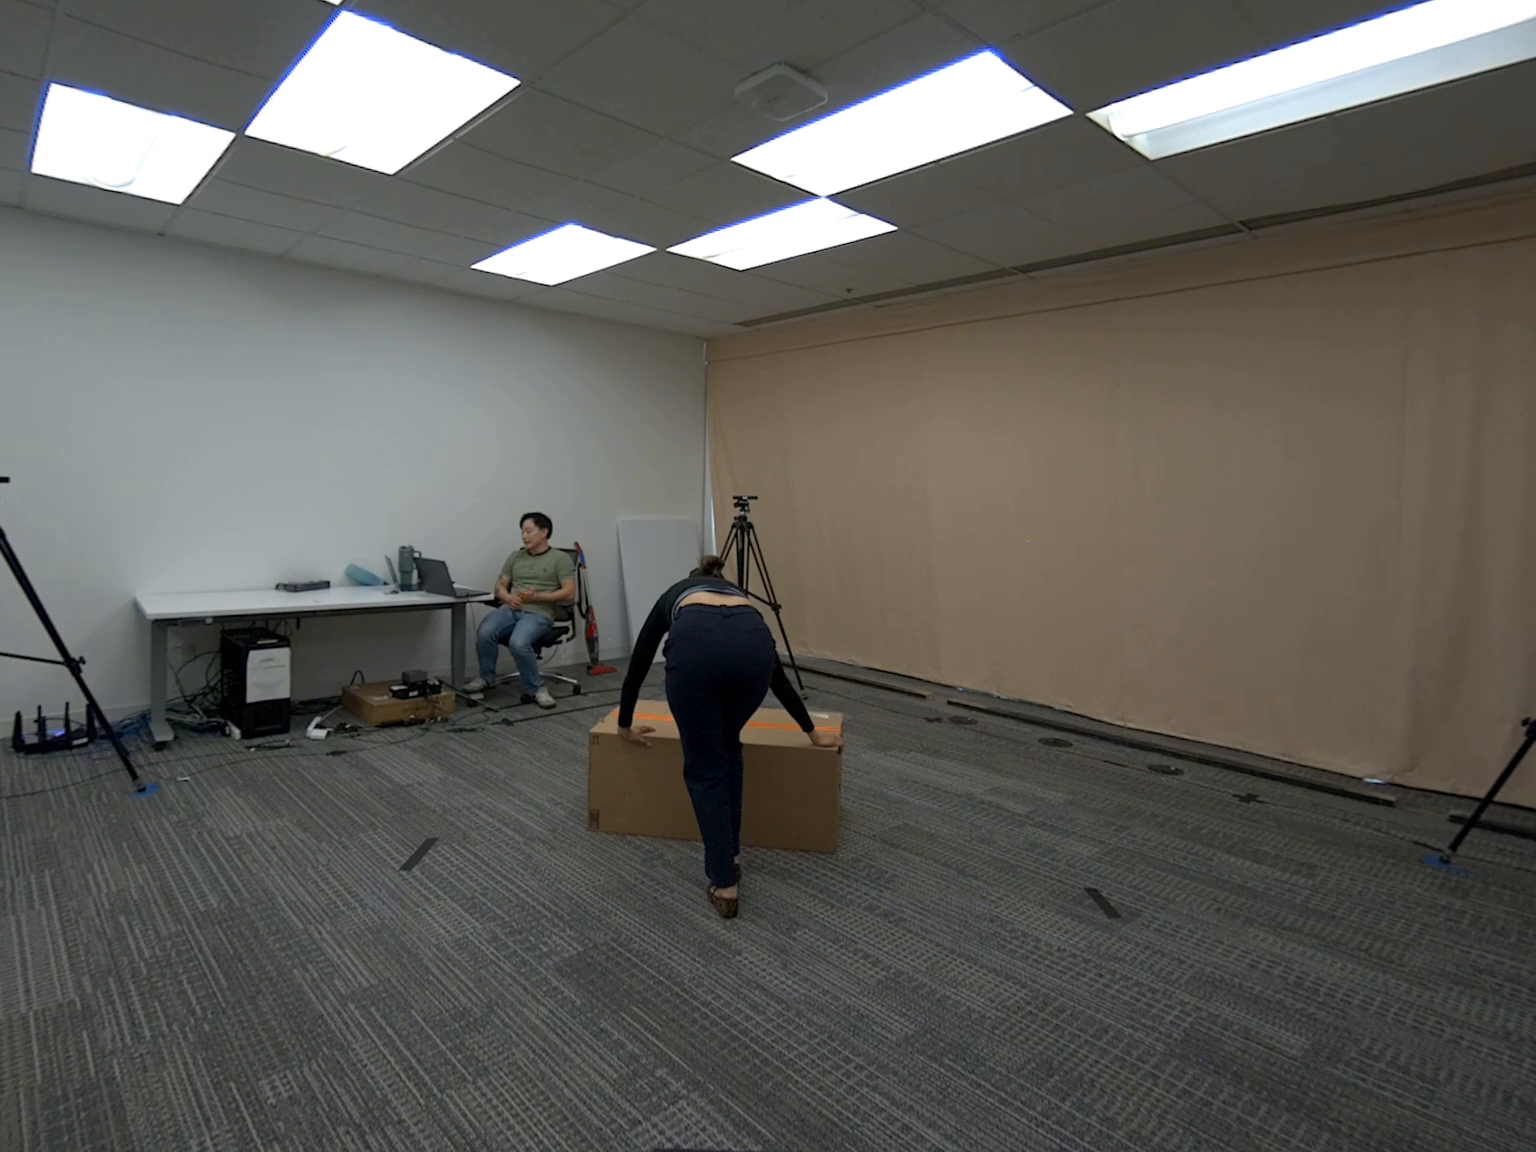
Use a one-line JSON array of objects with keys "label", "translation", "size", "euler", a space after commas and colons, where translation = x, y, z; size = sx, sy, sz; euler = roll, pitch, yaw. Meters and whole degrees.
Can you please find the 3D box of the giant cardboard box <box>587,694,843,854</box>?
[{"label": "giant cardboard box", "translation": [-0.207, 0.835, 3.669], "size": [1.034, 0.425, 0.575], "euler": [2, 6, 9]}]
